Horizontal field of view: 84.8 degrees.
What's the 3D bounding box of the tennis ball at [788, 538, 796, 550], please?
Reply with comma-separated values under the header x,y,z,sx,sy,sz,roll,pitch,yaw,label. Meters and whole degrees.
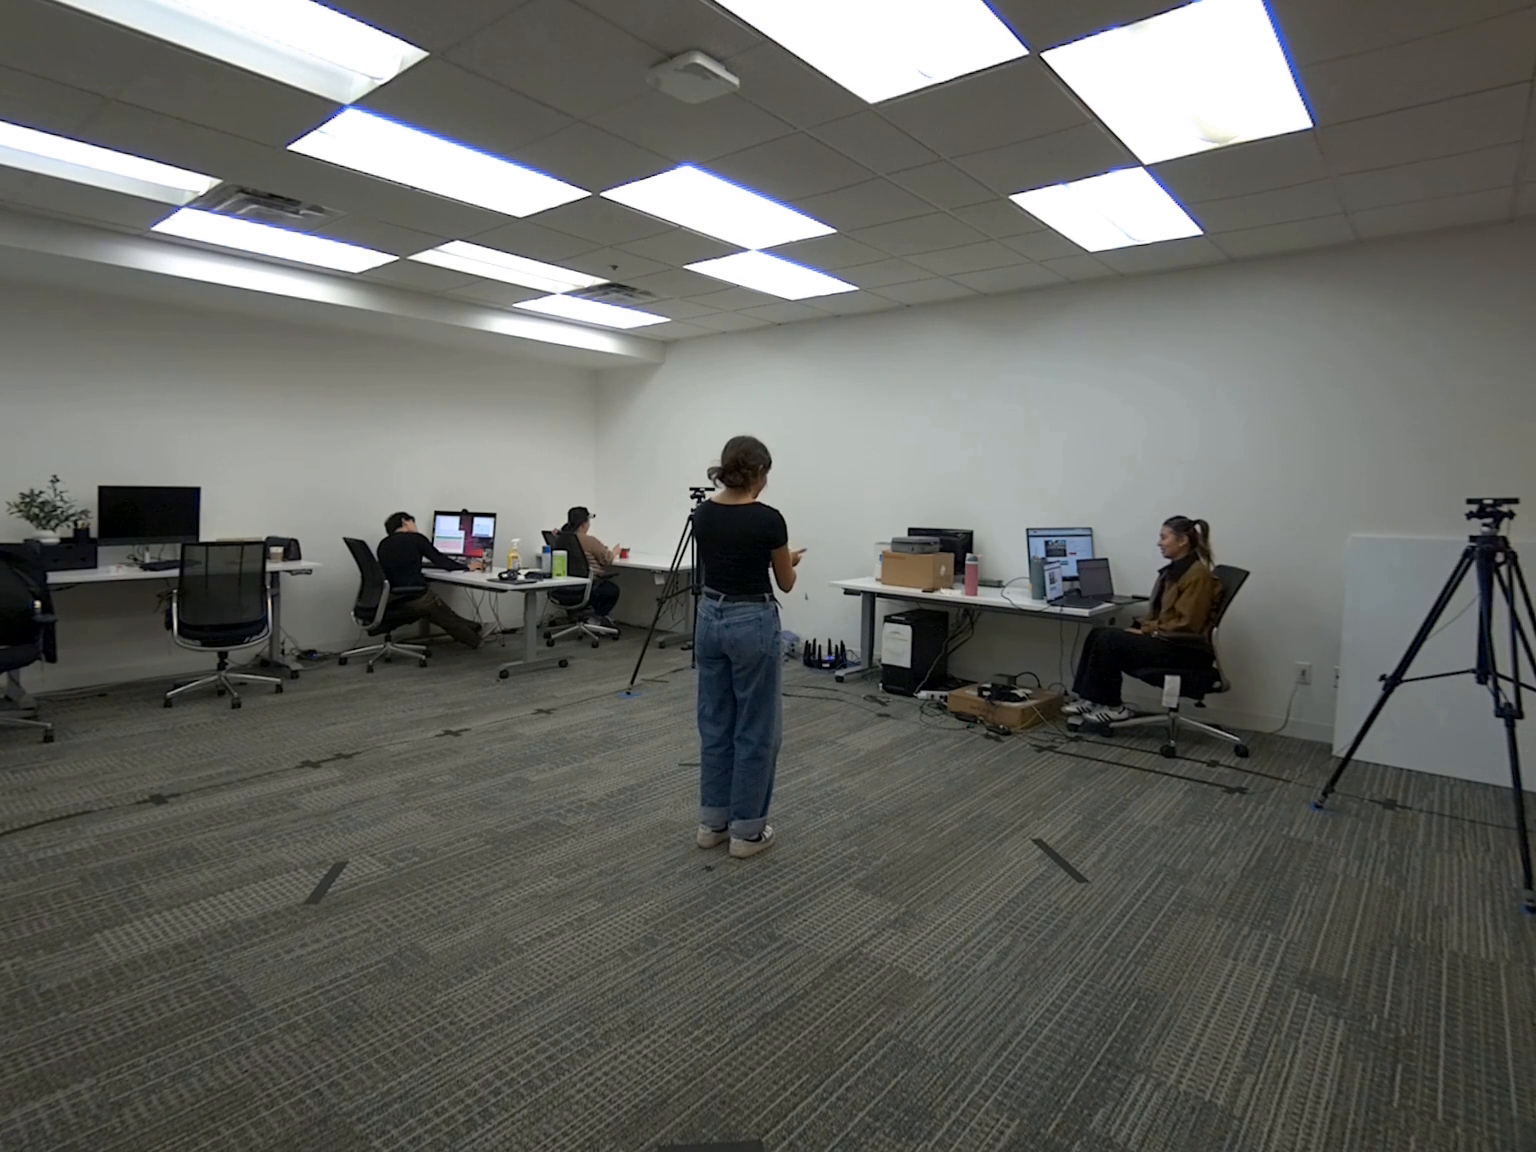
x,y,z,sx,sy,sz,roll,pitch,yaw,label
0.077,-0.128,3.550,0.066,0.066,0.067,1,4,-2,tennis ball
